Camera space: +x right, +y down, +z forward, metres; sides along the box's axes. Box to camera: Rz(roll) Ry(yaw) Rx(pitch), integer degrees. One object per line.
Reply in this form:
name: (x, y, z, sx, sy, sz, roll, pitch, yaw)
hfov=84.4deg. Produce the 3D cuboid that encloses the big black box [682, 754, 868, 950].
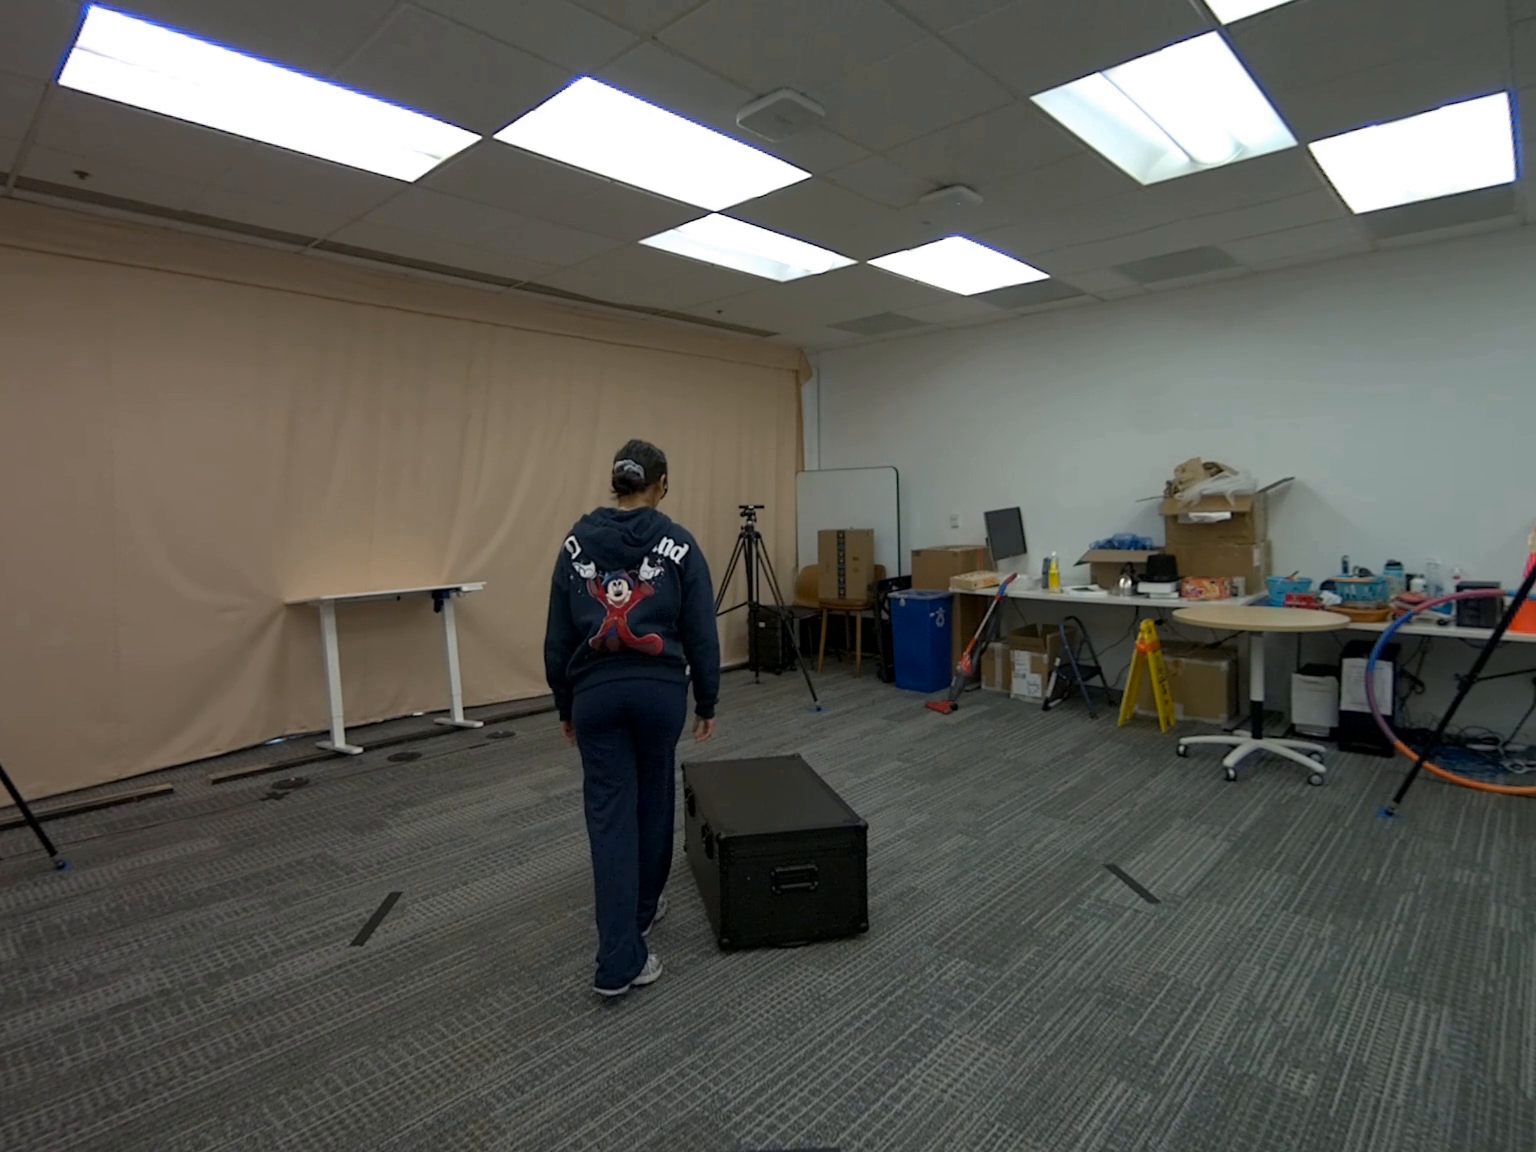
big black box: (-0.011, 0.945, 3.049, 0.514, 0.395, 0.875, -2, 5, -14)
